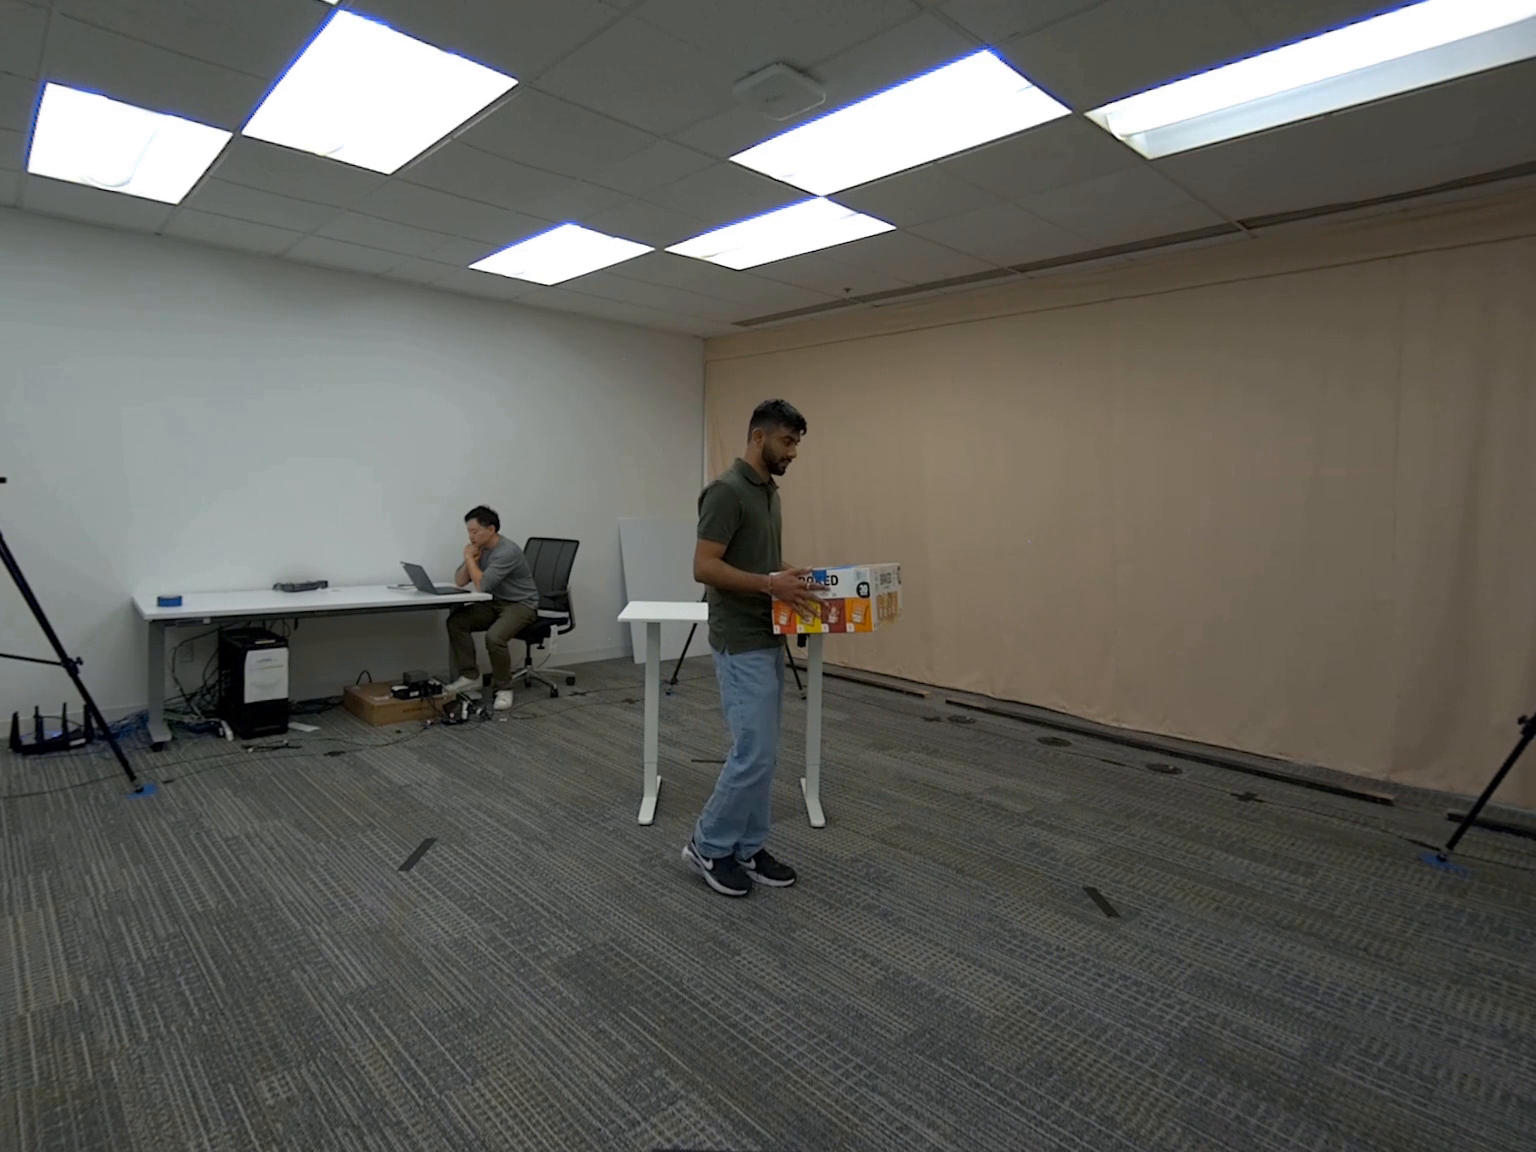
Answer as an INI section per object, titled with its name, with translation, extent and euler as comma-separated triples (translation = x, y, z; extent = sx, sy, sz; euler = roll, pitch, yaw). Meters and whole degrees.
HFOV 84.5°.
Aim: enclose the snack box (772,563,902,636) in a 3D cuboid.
[snack box]
translation = 0.232, 0.072, 2.872
extent = 0.346, 0.206, 0.398
euler = -3, 1, 24
